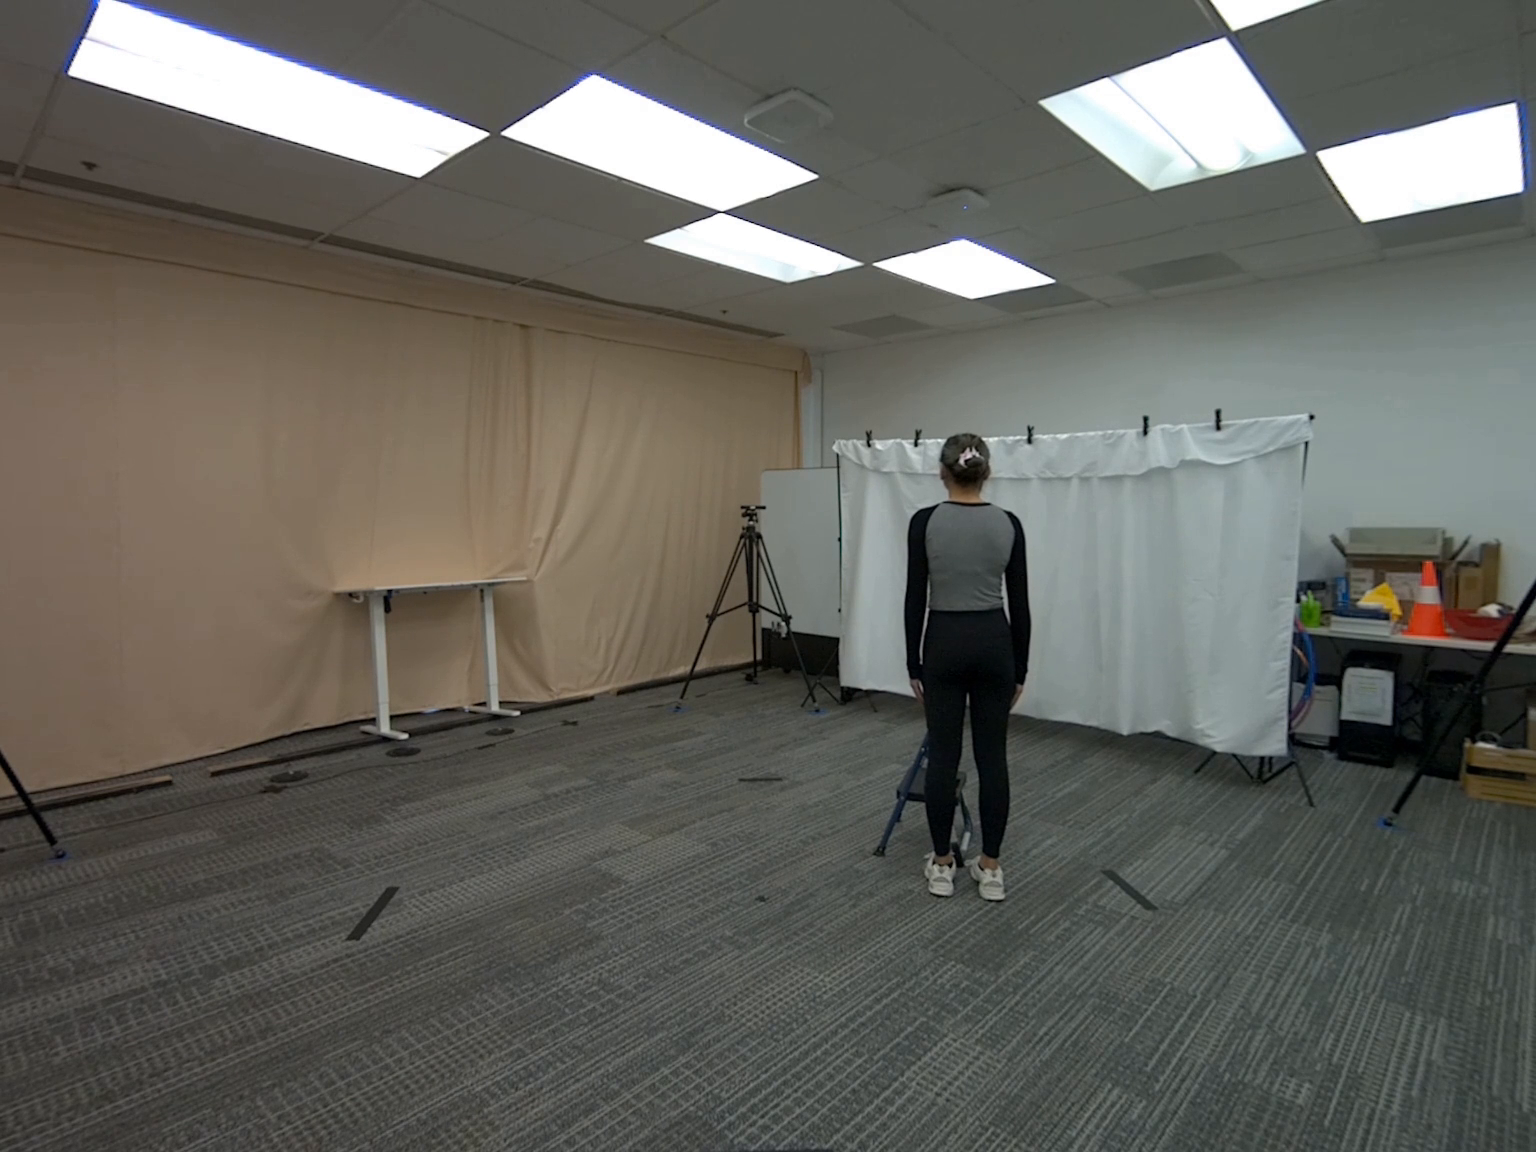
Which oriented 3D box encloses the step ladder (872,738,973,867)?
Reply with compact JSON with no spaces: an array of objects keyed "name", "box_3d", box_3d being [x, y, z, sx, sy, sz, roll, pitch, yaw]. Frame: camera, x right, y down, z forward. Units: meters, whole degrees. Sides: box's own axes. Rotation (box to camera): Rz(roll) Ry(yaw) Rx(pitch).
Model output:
[{"name":"step ladder","box_3d":[0.655,0.802,3.468,0.357,0.604,0.422,1,4,20]}]
